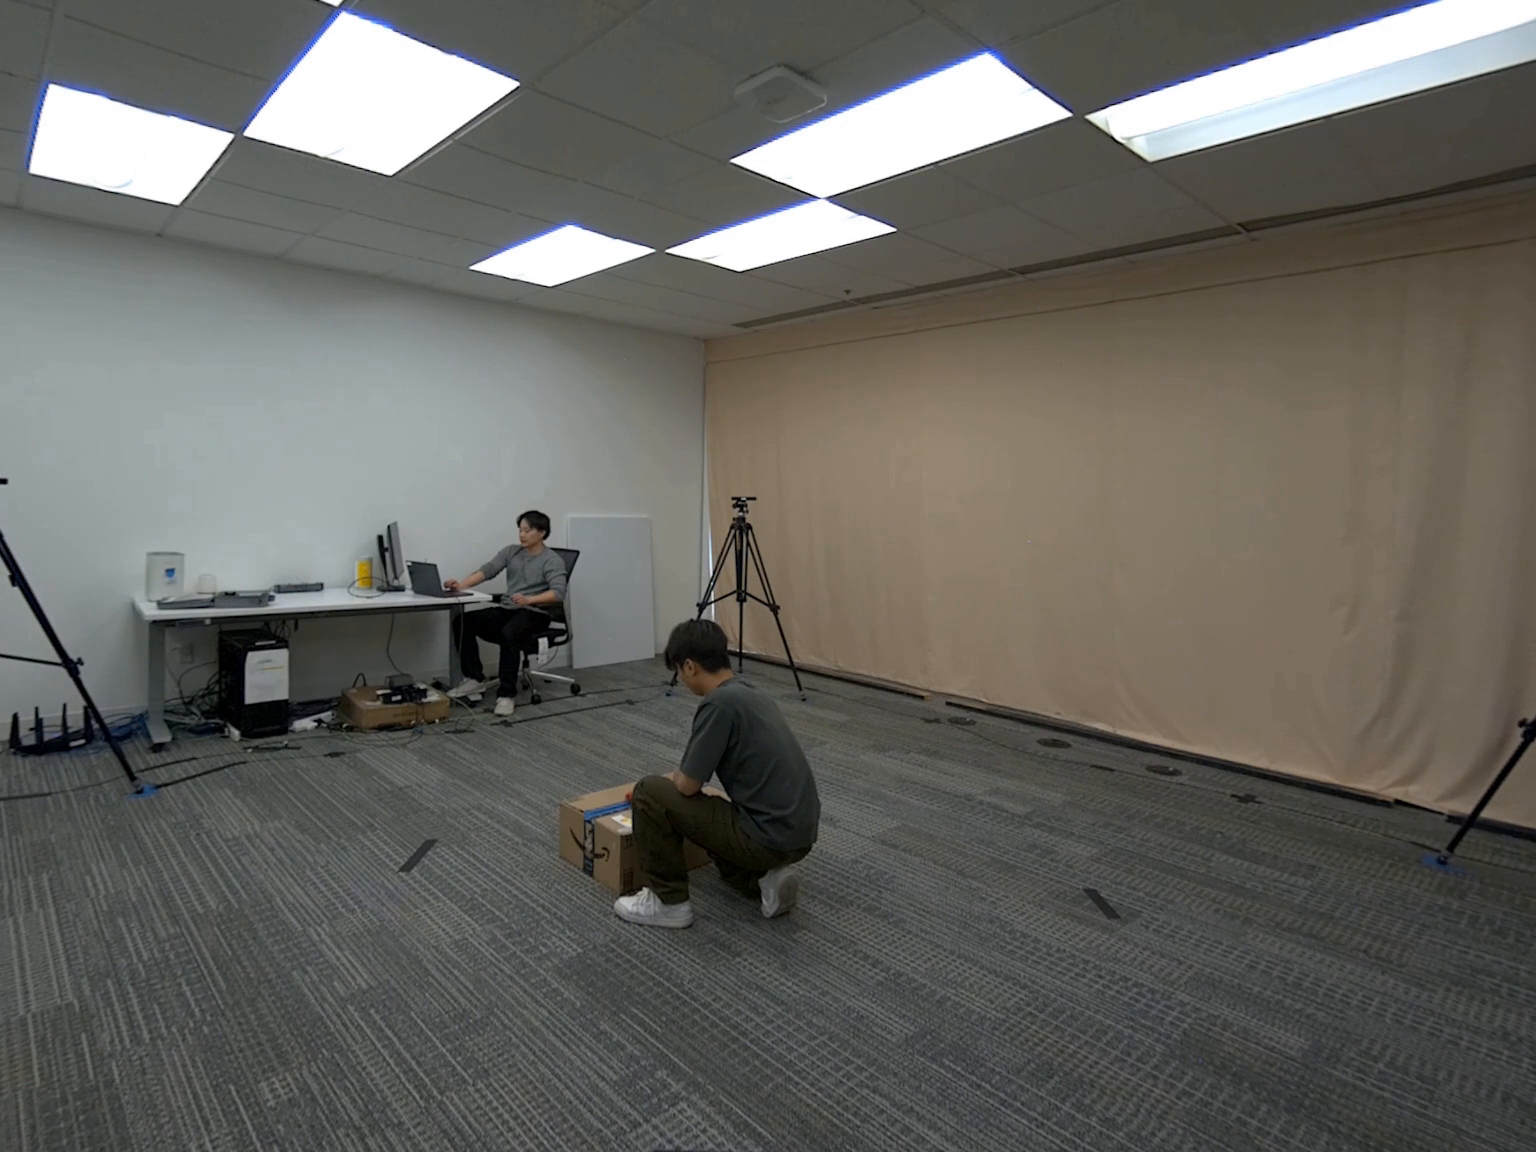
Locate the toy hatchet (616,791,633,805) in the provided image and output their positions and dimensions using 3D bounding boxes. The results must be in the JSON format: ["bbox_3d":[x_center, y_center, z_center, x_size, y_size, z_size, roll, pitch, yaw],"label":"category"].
[{"bbox_3d":[-0.444,0.834,3.289,0.132,0.030,0.263,-25,-17,37],"label":"toy hatchet"}]
